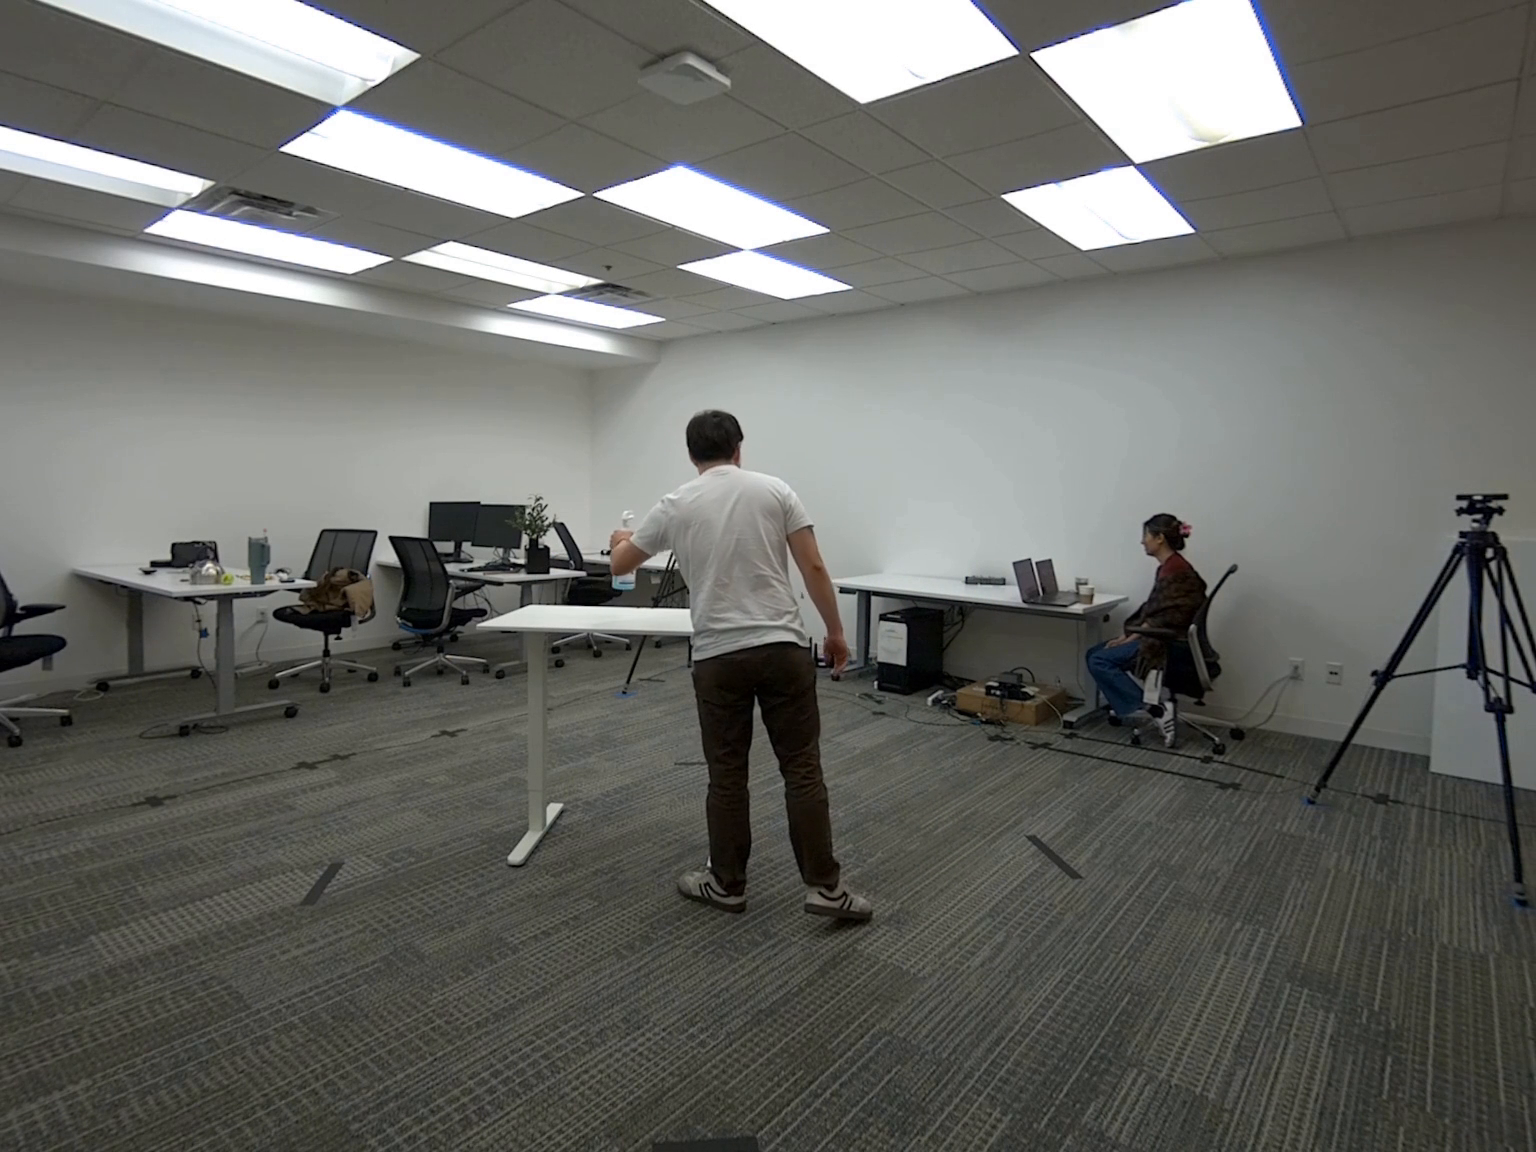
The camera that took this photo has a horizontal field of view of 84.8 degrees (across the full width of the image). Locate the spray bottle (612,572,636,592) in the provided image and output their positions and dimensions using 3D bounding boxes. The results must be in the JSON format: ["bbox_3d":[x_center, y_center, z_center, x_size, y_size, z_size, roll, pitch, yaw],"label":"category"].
[{"bbox_3d":[-0.554,-0.098,3.249,0.090,0.296,0.087,6,4,40],"label":"spray bottle"}]
